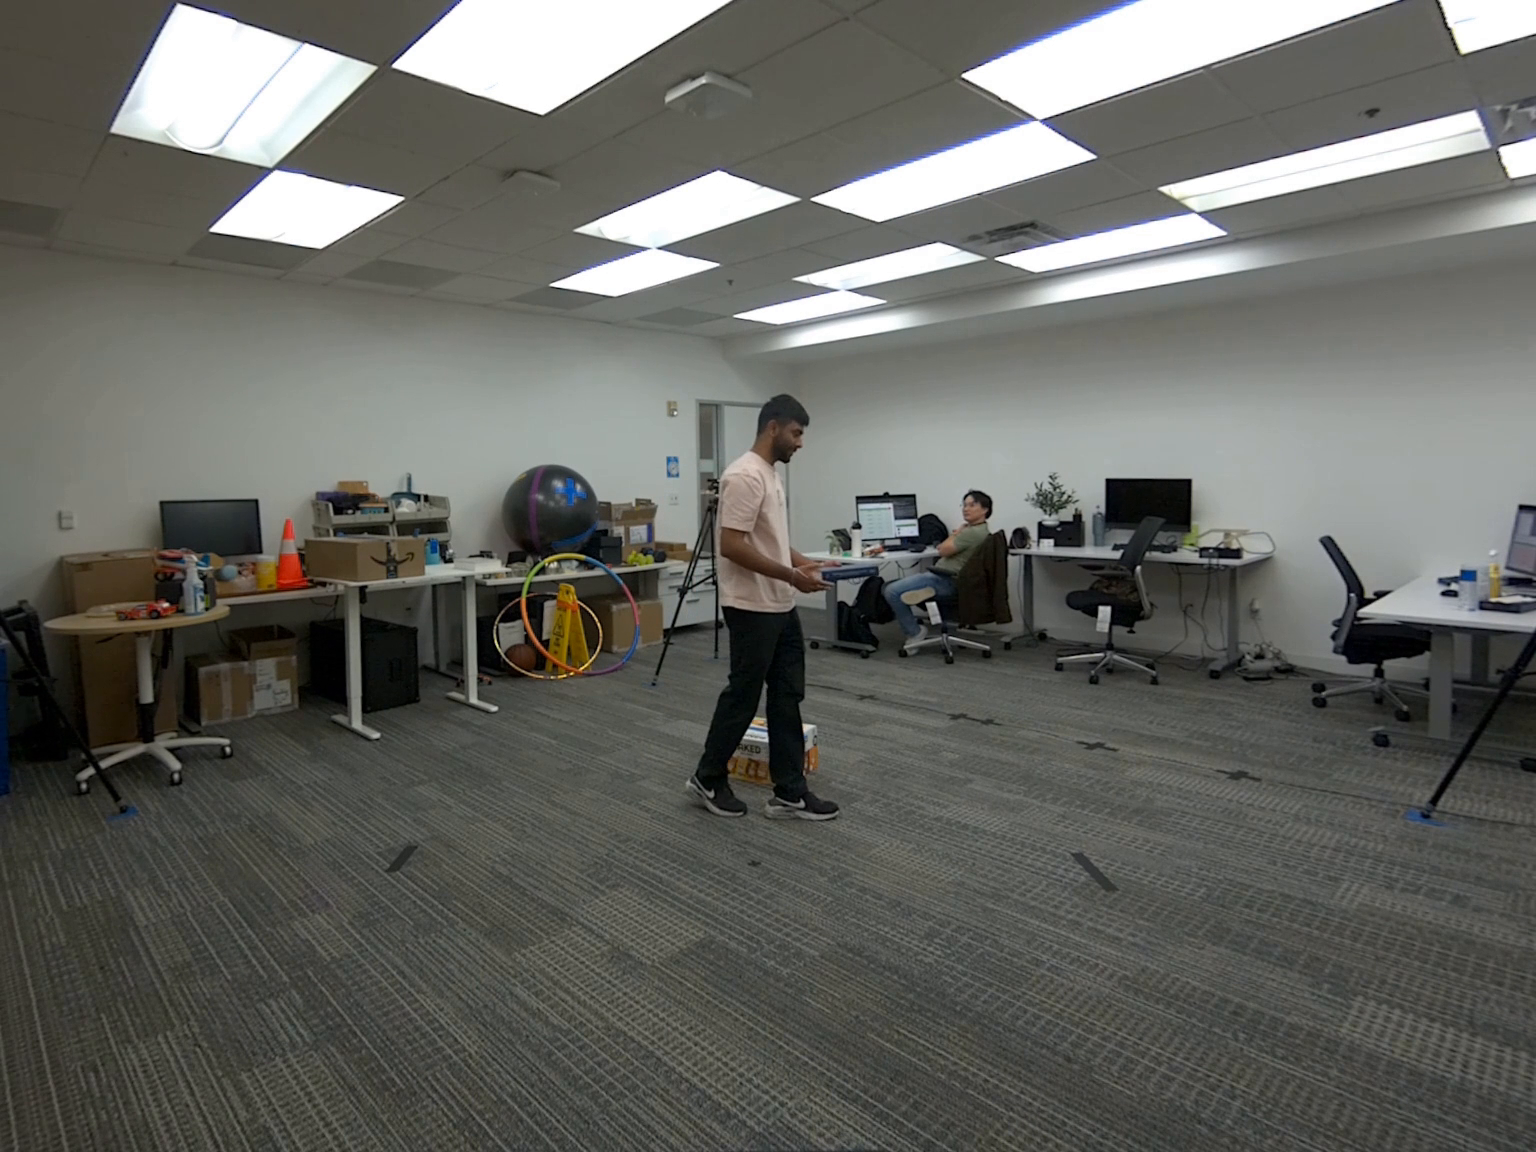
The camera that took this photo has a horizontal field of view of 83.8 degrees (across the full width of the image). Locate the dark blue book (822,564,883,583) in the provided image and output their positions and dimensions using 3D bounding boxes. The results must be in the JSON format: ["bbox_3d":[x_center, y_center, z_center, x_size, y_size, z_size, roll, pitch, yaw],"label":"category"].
[{"bbox_3d":[0.312,-0.013,3.461,0.242,0.045,0.166,-6,4,-14],"label":"dark blue book"}]
